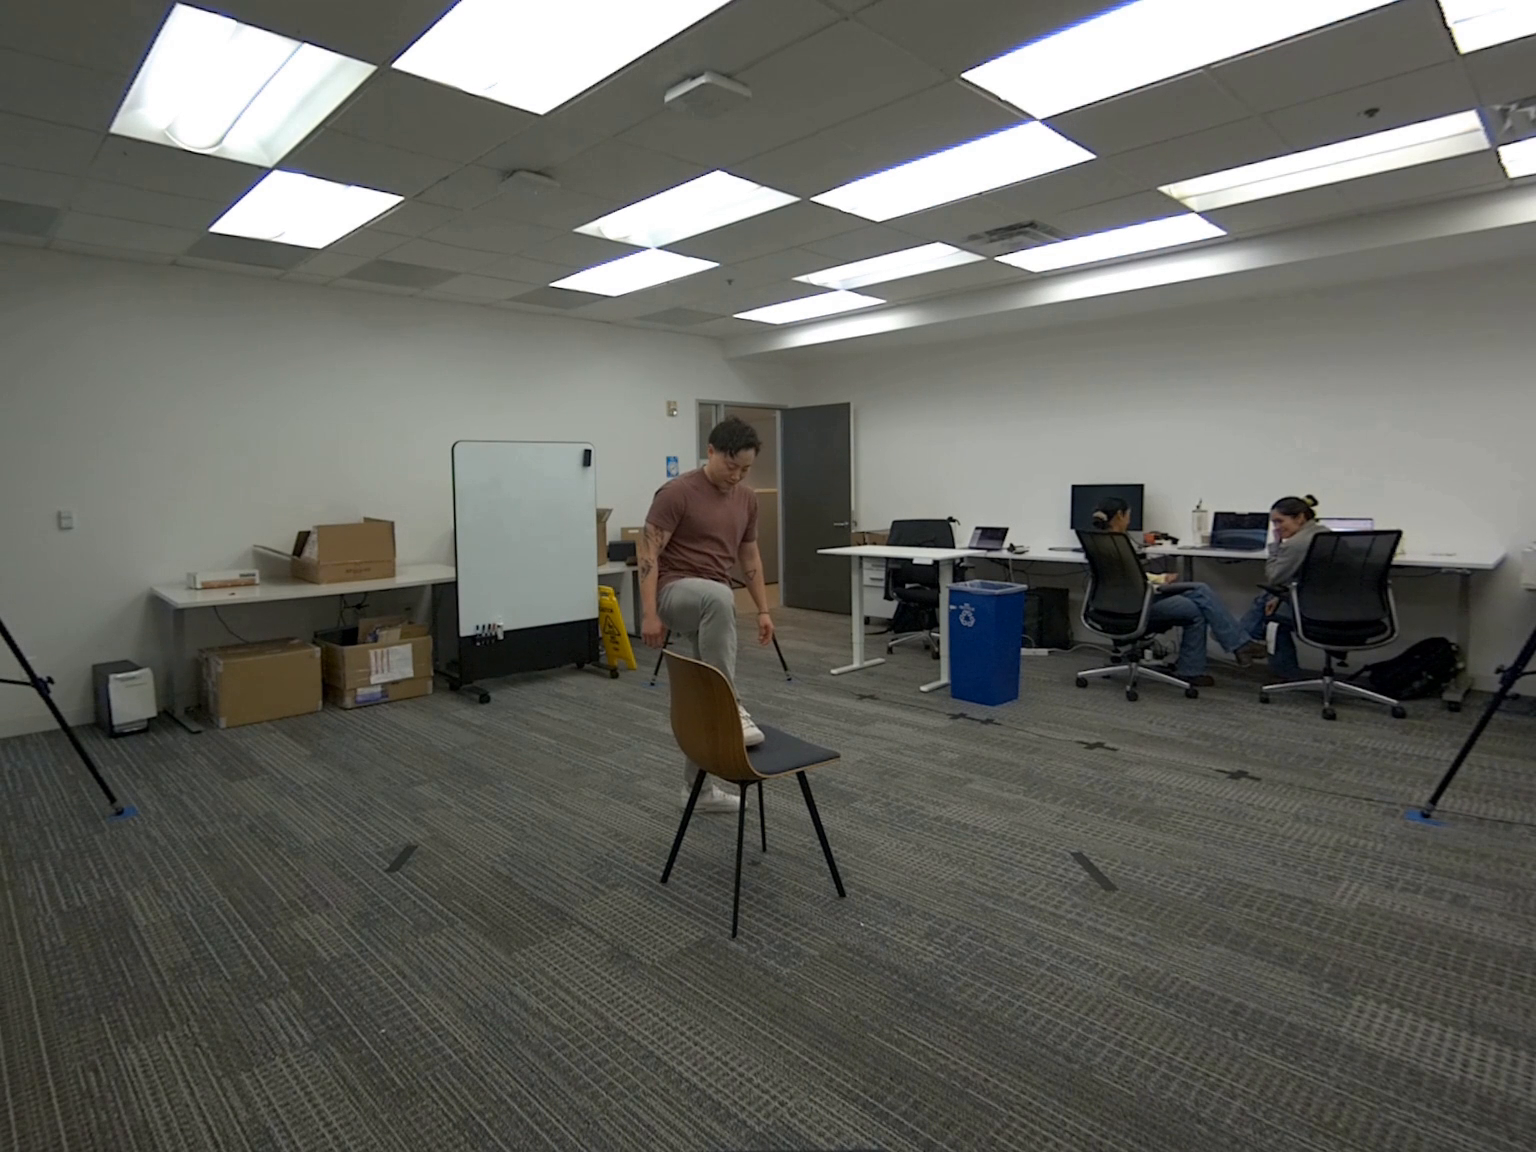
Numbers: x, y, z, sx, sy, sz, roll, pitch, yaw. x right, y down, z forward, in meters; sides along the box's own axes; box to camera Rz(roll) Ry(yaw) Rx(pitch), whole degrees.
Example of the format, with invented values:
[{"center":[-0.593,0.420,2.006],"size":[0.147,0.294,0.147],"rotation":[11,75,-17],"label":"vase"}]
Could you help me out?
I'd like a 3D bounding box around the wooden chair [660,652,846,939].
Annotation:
[{"center":[-0.055,0.646,2.877],"size":[0.511,0.872,0.492],"rotation":[-9,8,-35],"label":"wooden chair"}]
